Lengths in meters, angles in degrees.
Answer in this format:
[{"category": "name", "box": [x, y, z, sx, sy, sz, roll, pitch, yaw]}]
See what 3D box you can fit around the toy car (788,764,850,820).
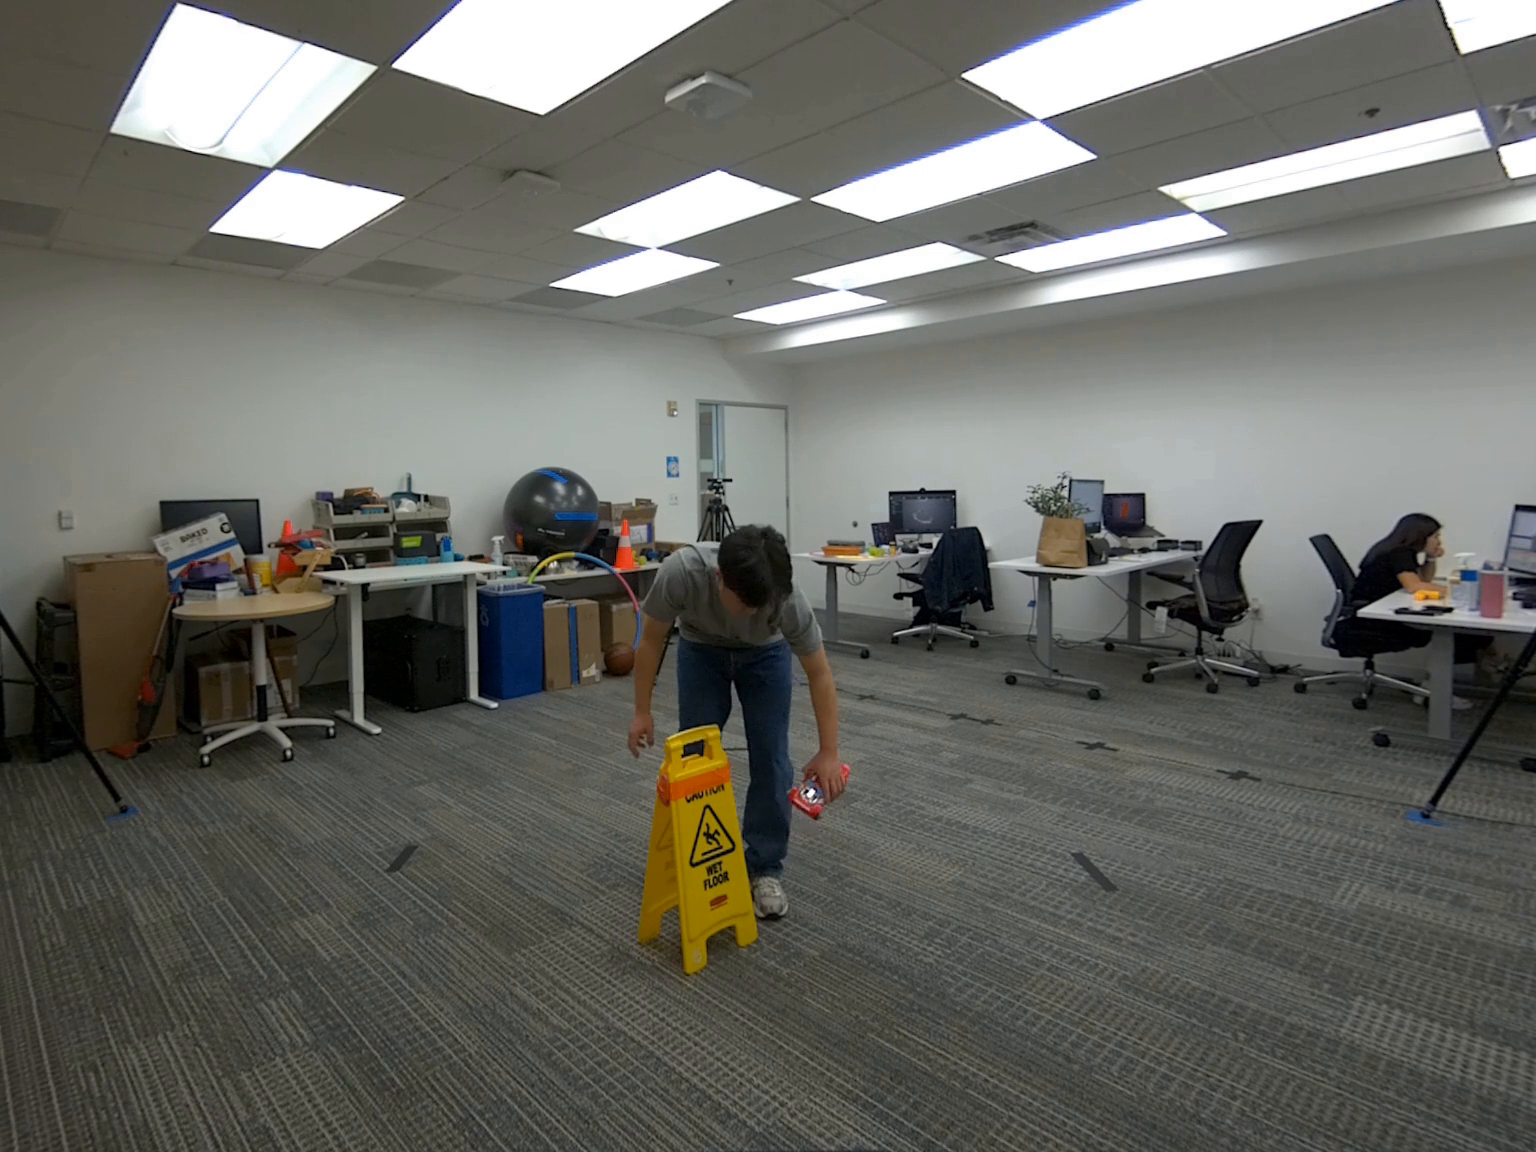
[{"category": "toy car", "box": [0.151, 0.657, 2.702, 0.134, 0.081, 0.253, 29, 46, 21]}]
